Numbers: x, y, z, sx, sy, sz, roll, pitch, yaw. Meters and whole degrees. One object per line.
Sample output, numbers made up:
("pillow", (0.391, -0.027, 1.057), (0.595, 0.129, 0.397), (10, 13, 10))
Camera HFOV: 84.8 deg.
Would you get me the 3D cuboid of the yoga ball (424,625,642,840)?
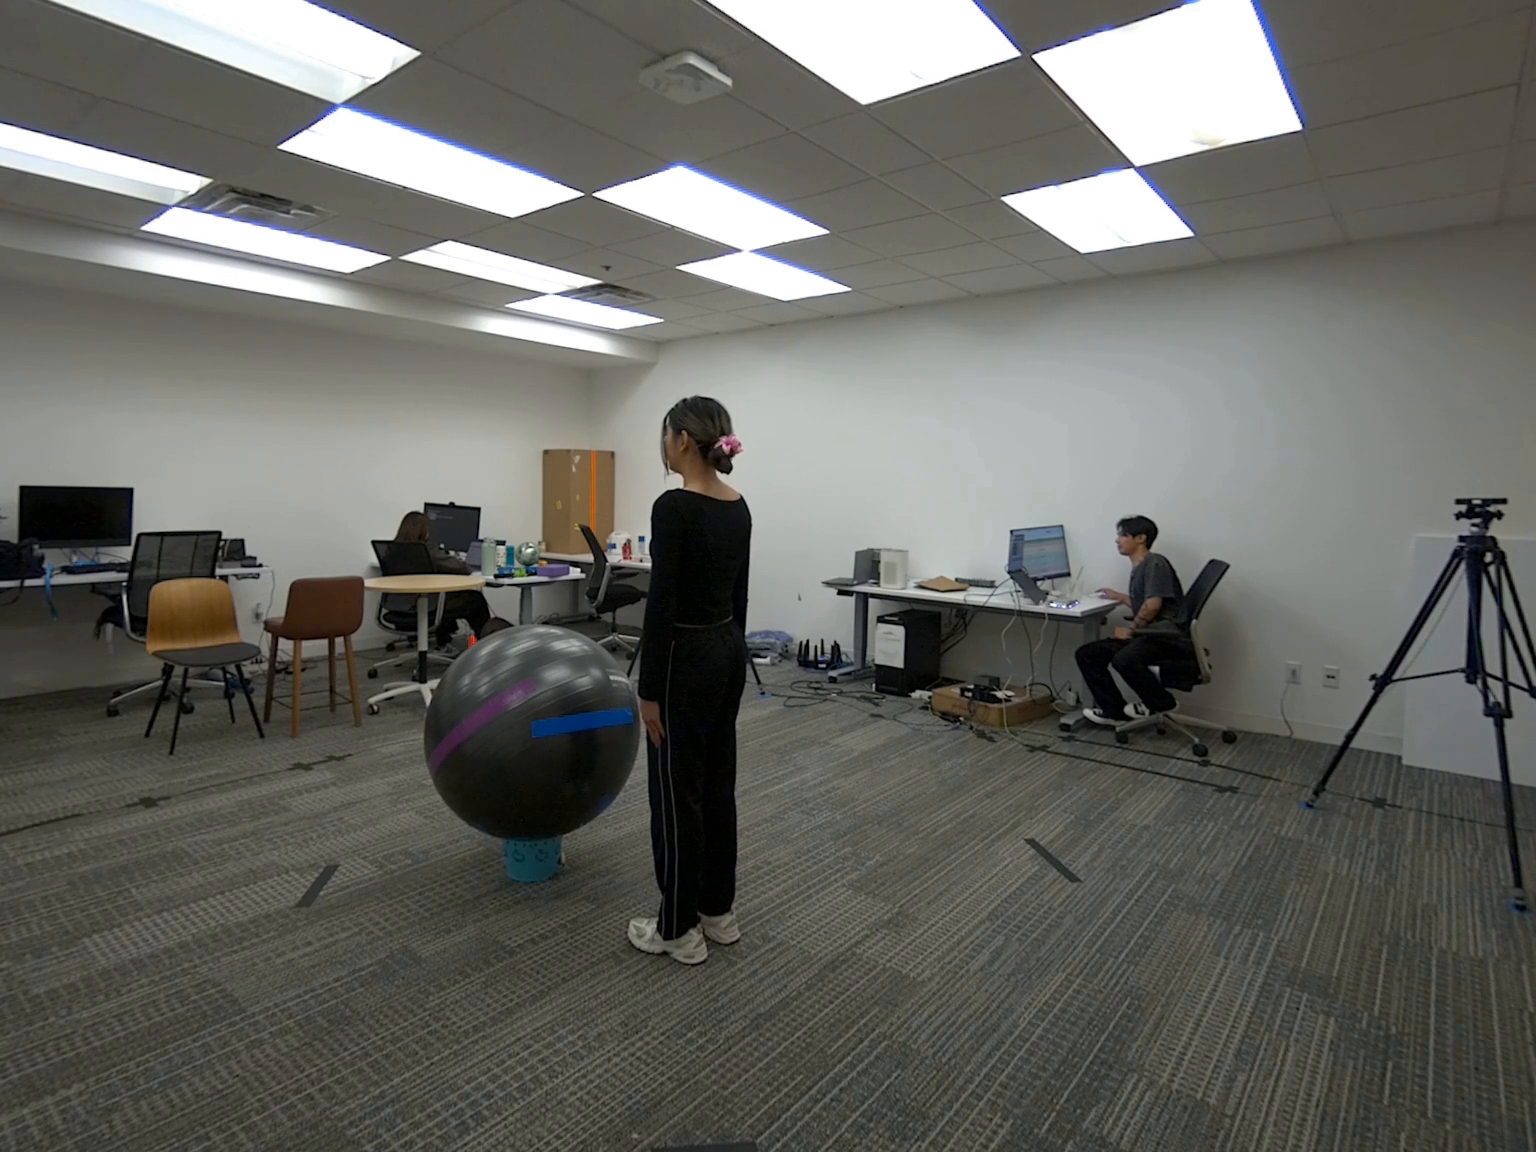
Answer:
("yoga ball", (-0.854, 0.554, 3.055), (0.757, 0.755, 0.762), (1, 4, -2))
